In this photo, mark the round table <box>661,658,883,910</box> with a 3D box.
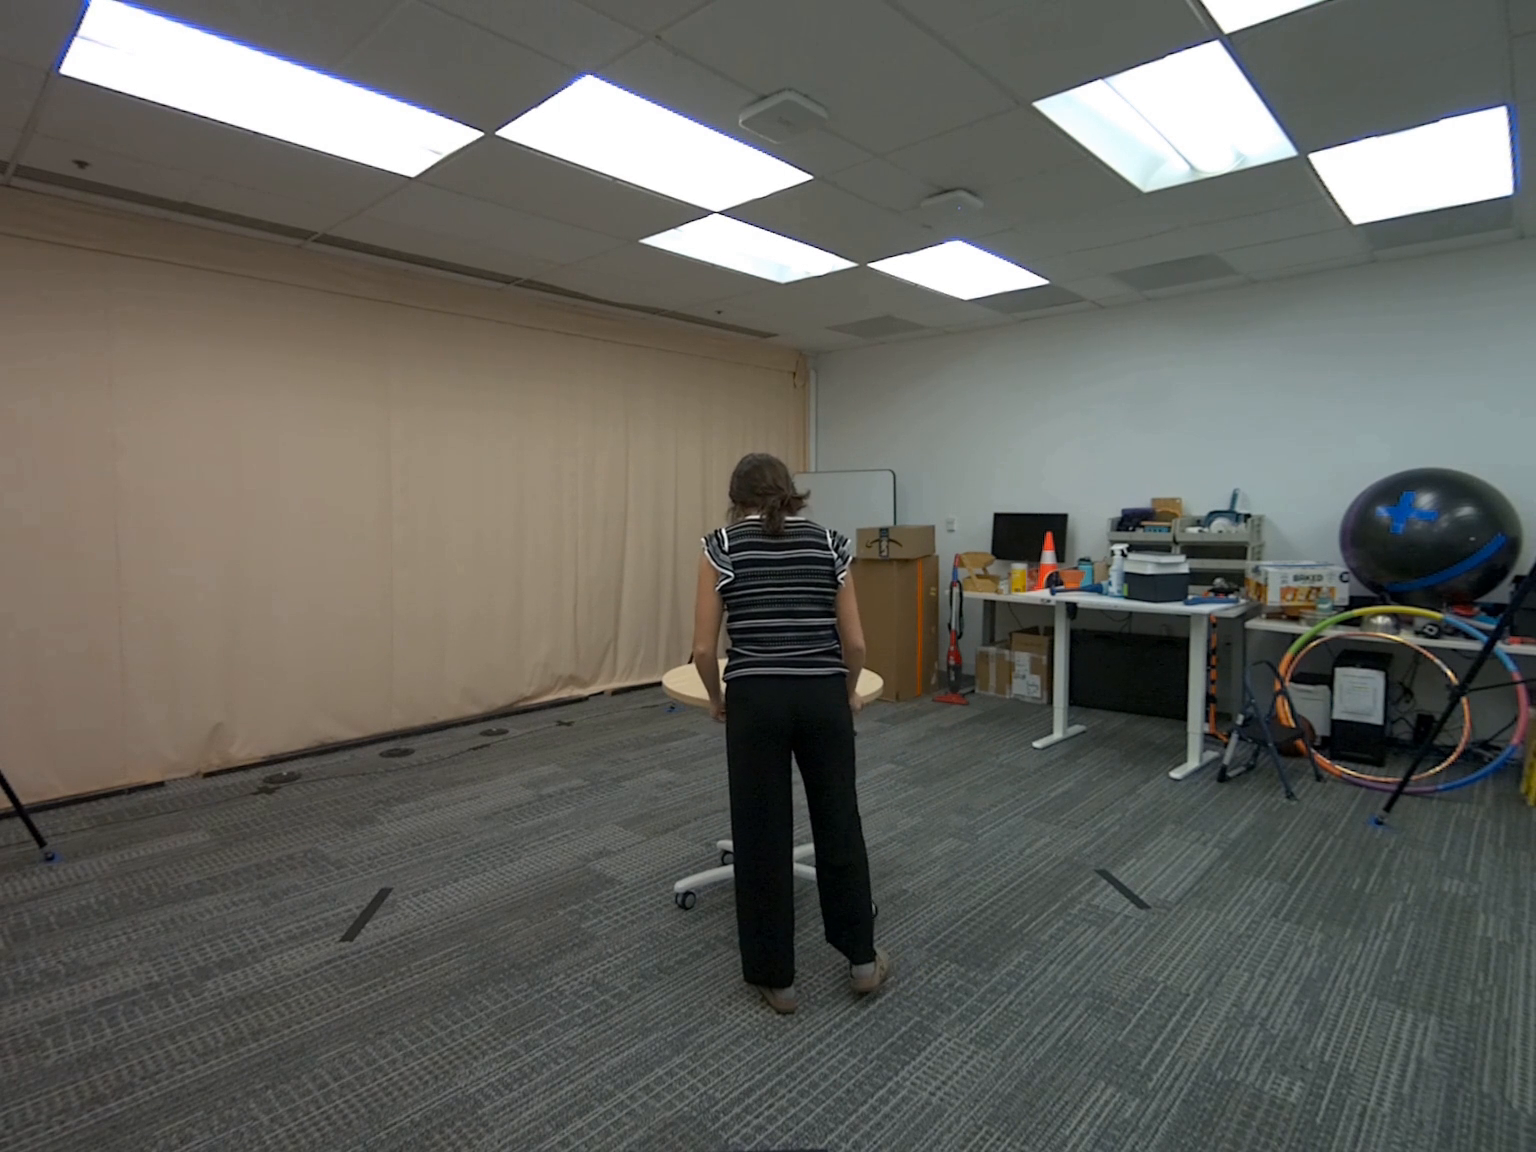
[{"bbox_3d":[0.017,0.749,2.954,0.784,0.784,0.788,0,4,-2],"label":"round table"}]
